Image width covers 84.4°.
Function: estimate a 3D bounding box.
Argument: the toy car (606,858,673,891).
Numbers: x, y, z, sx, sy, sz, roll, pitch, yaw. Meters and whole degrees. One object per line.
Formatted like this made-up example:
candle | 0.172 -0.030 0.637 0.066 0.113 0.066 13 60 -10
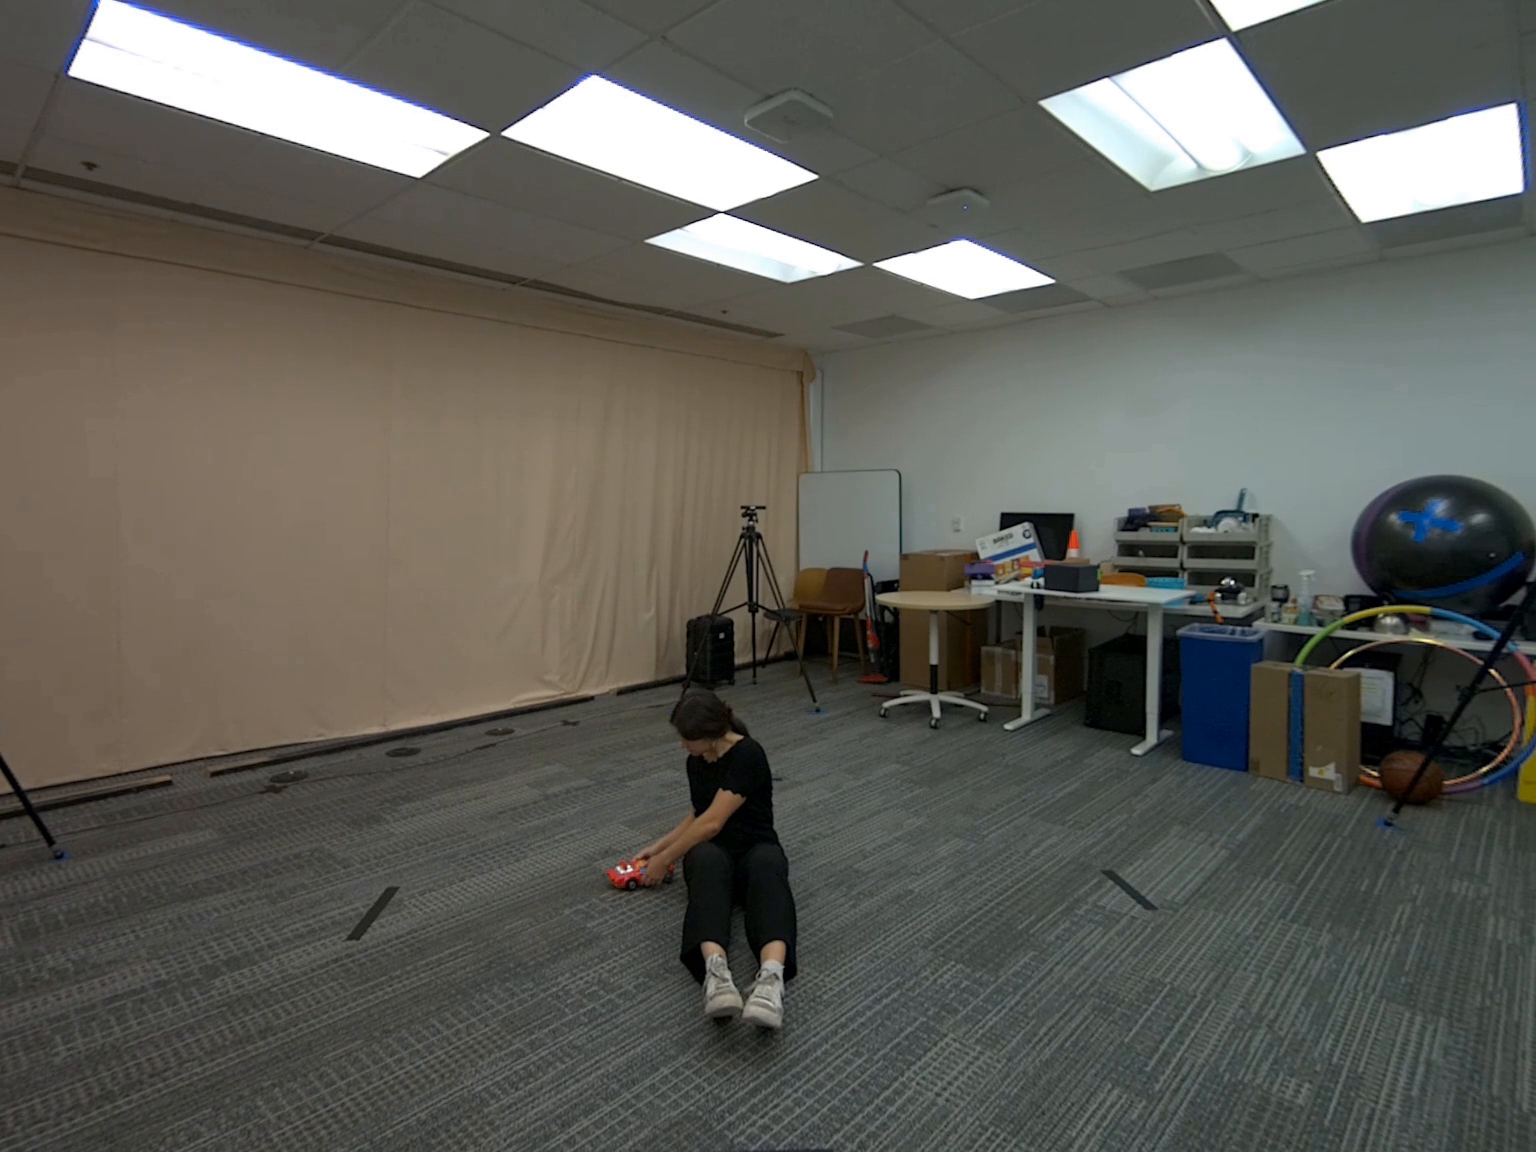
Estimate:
toy car | -0.484 1.106 3.112 0.247 0.083 0.134 12 -2 -28
